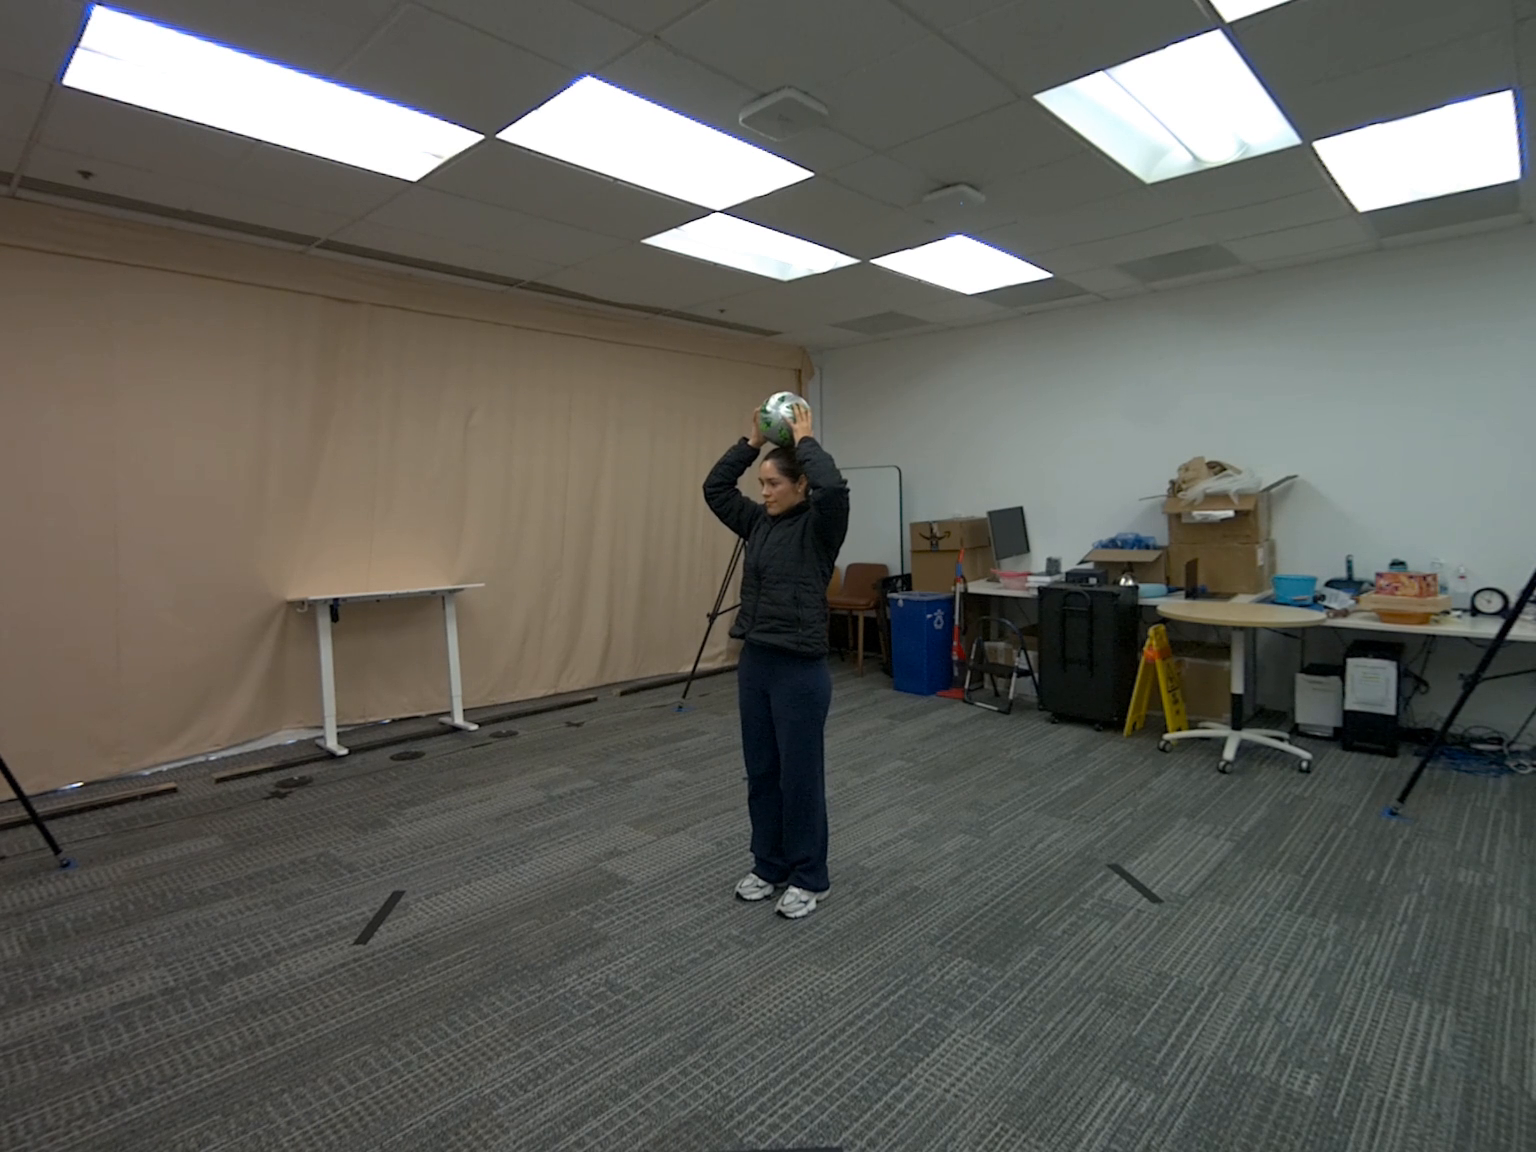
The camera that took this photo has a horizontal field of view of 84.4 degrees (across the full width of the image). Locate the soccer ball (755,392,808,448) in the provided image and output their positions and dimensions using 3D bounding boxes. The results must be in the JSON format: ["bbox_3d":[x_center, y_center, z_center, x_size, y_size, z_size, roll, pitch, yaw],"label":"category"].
[{"bbox_3d":[0.053,-0.538,2.909,0.187,0.187,0.188,-1,4,-2],"label":"soccer ball"}]
